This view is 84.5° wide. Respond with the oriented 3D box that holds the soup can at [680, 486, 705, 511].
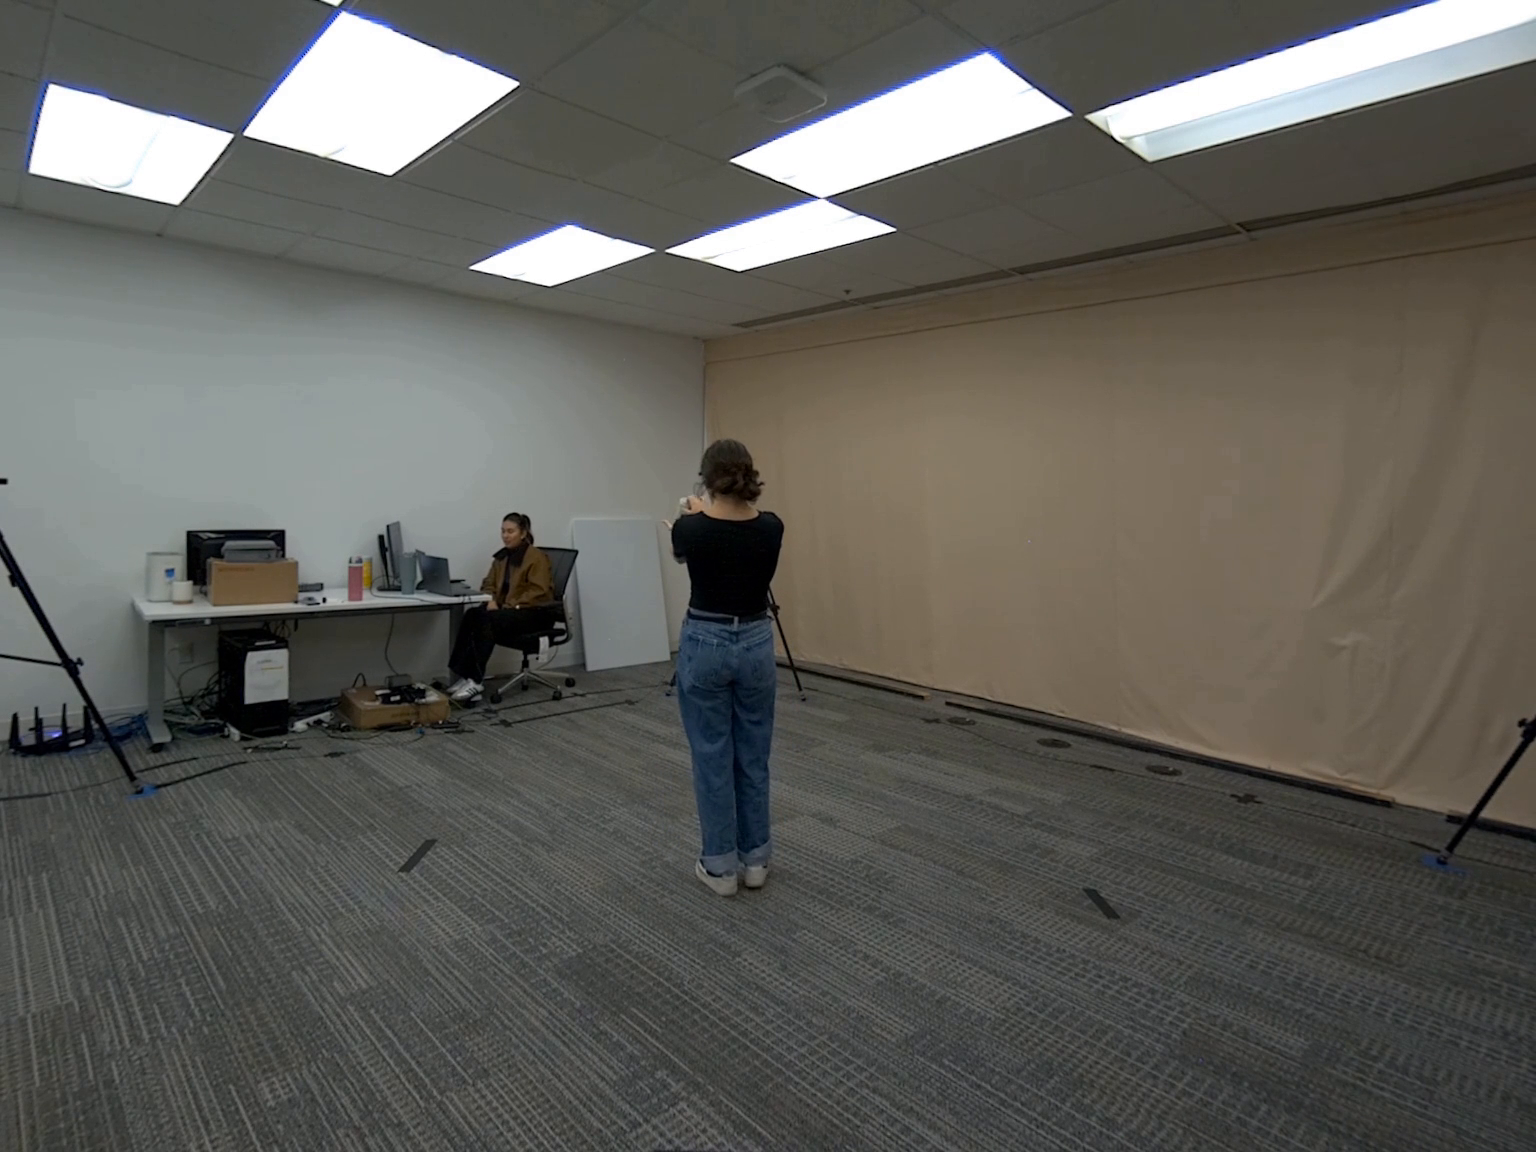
[{"bbox_3d":[-0.346,-0.258,3.470,0.067,0.121,0.068,18,17,-7],"label":"soup can"}]
